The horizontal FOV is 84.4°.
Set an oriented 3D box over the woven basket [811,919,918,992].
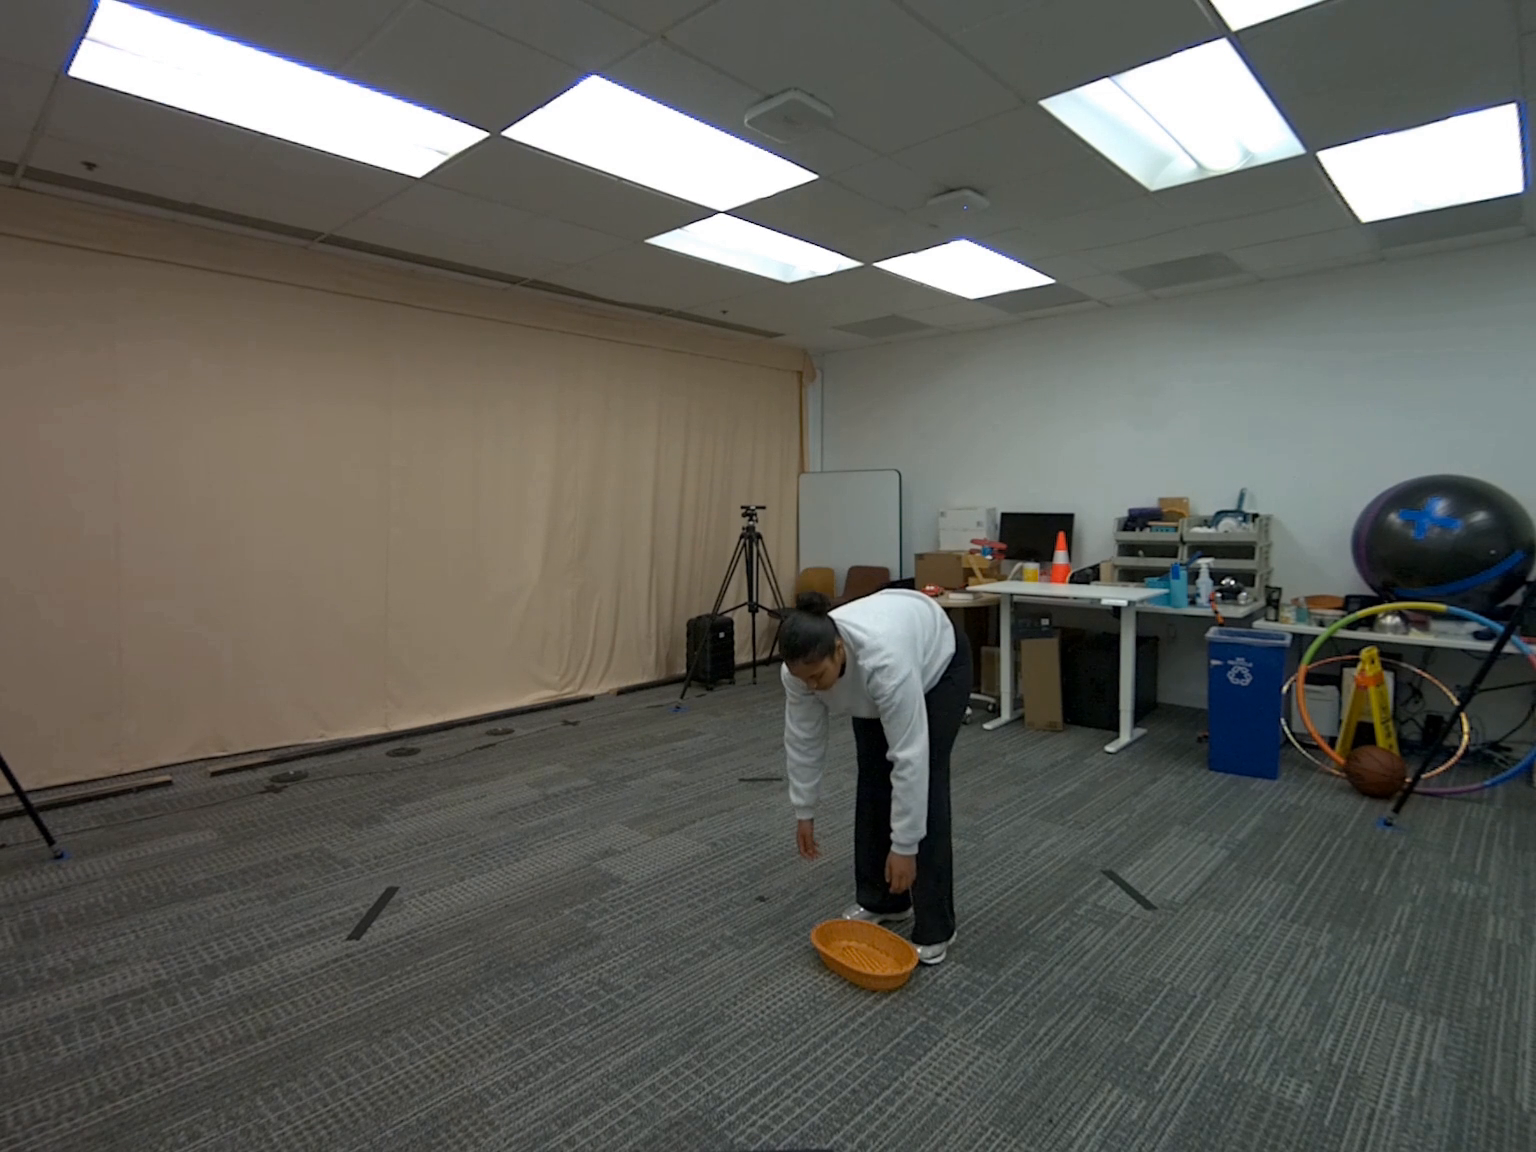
[{"bbox_3d":[0.291,1.142,2.540,0.245,0.073,0.361,-3,5,-34],"label":"woven basket"}]
